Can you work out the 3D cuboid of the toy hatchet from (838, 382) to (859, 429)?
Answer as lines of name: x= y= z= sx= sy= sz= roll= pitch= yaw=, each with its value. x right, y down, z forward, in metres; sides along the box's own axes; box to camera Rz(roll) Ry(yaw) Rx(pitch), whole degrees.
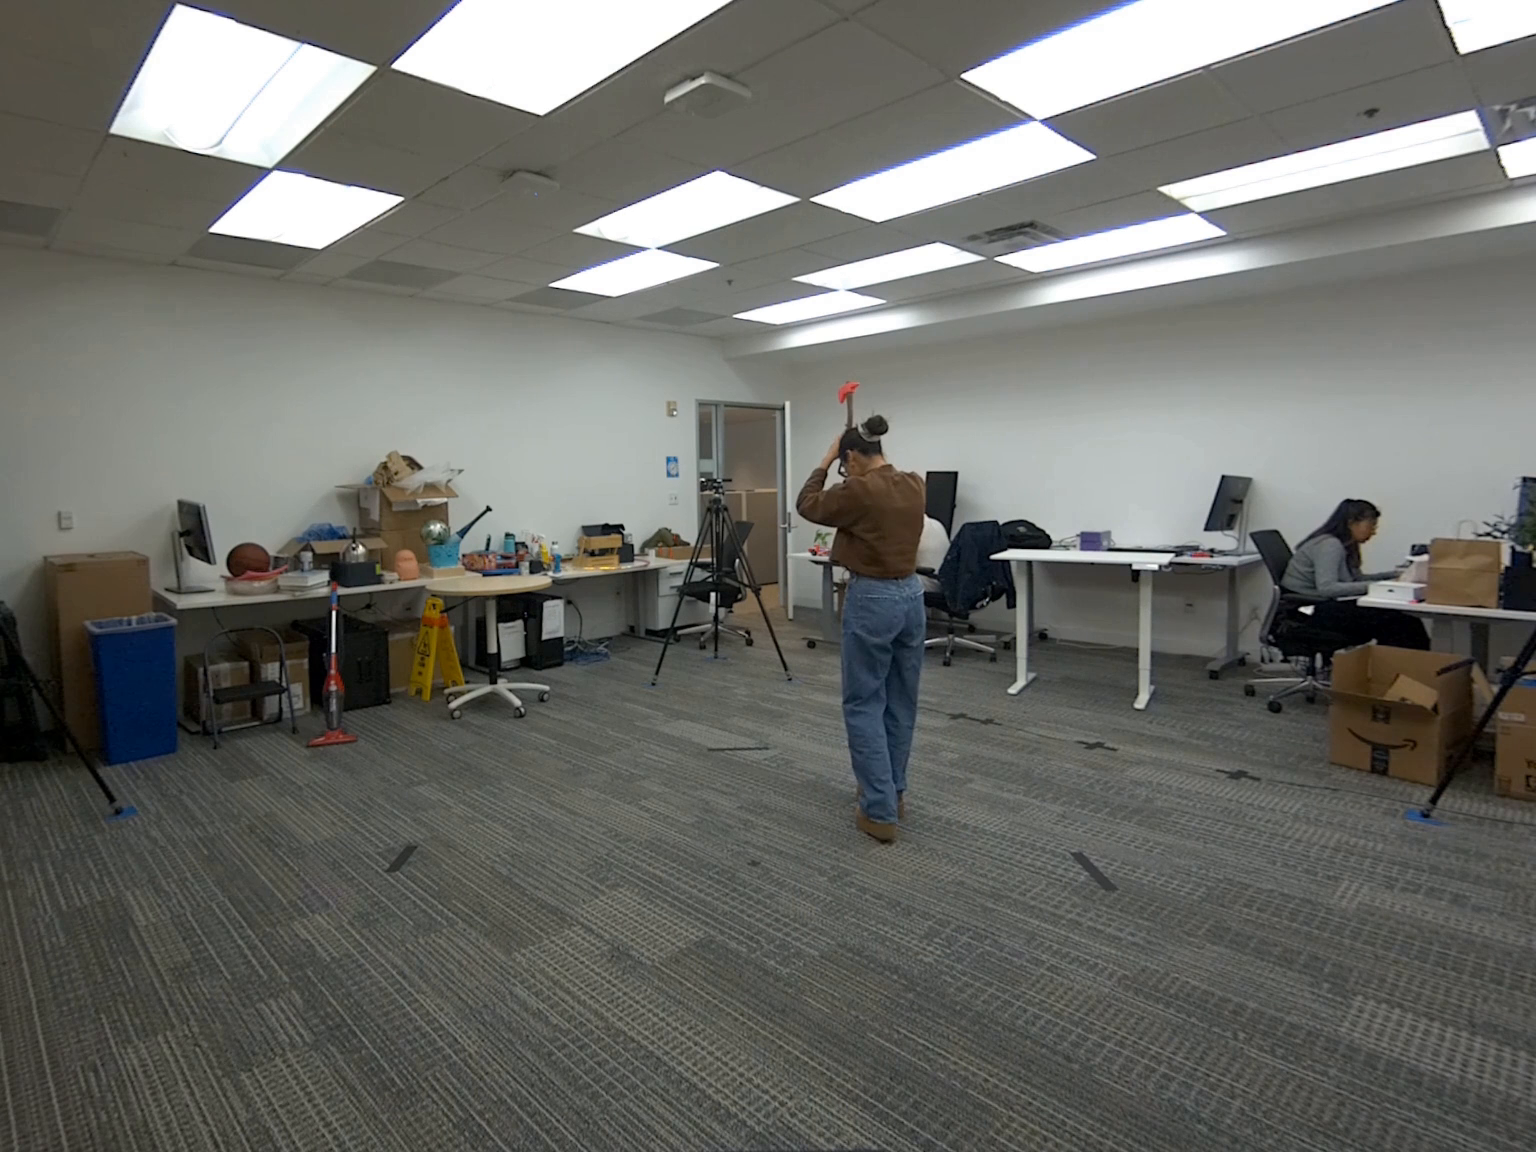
toy hatchet: x=0.329 y=-0.701 z=3.651 sx=0.029 sy=0.269 sz=0.135 roll=5 pitch=6 yaw=-34
